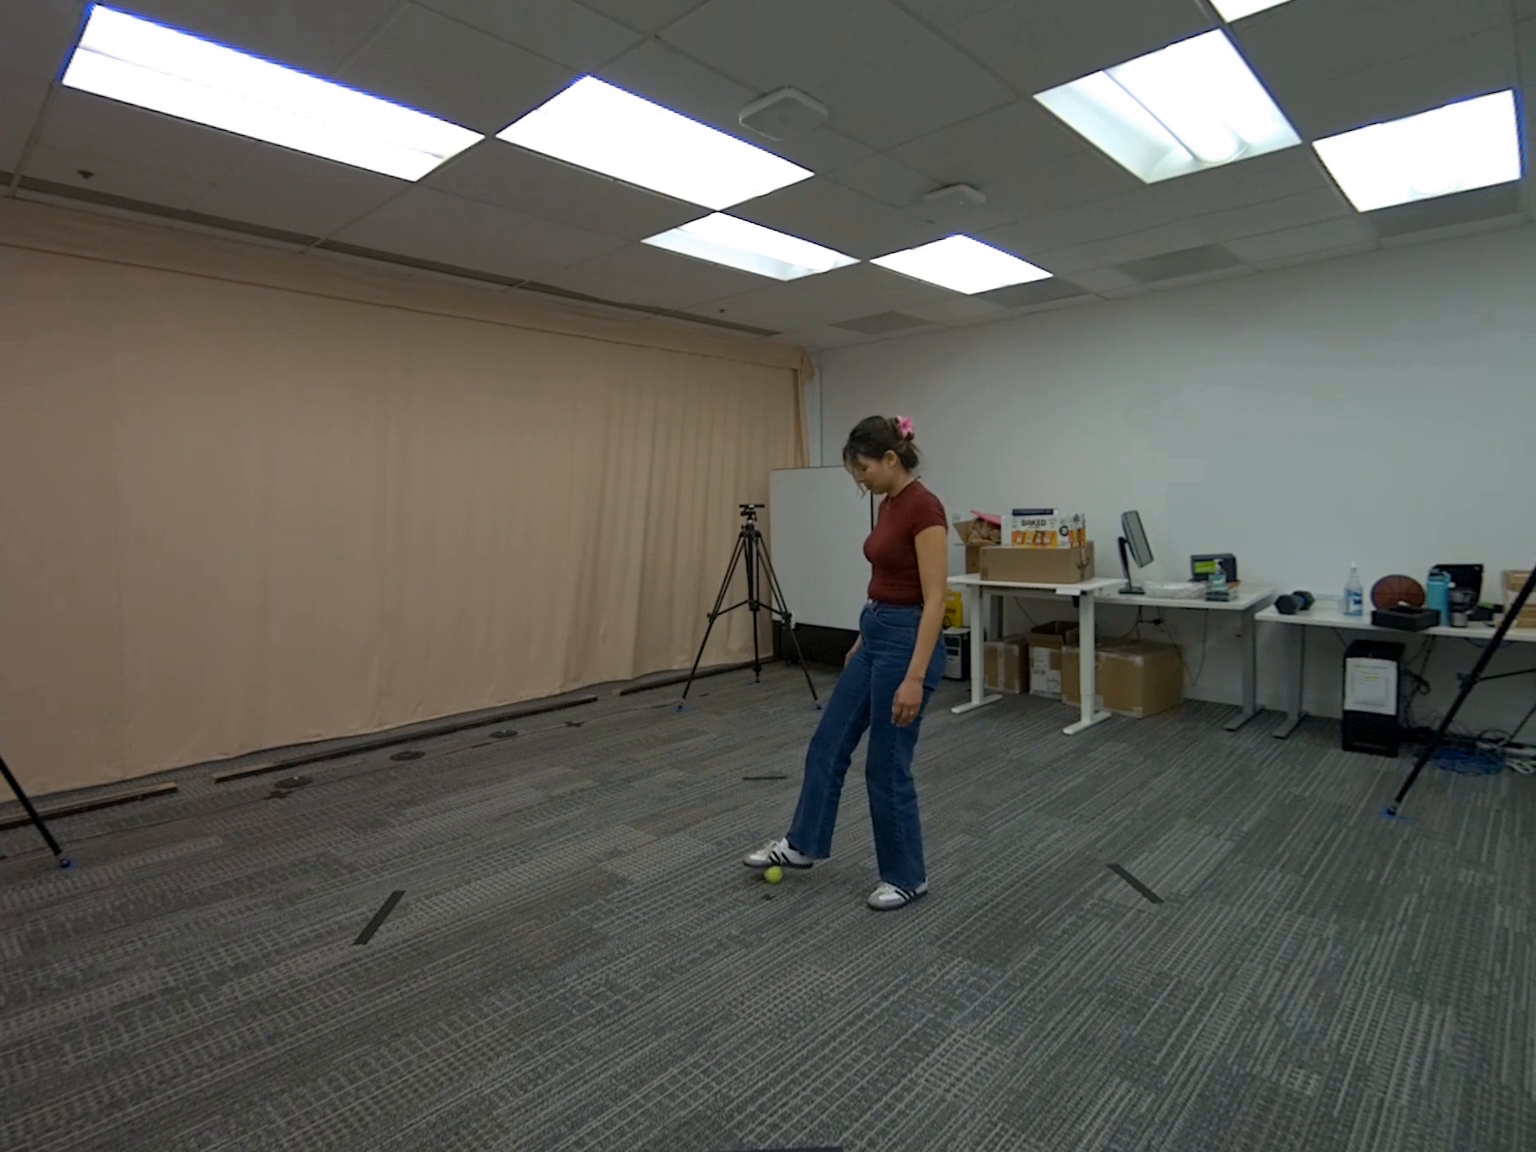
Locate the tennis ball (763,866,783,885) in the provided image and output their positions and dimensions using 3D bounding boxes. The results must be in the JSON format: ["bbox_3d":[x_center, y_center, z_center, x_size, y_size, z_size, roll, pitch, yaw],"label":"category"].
[{"bbox_3d":[0.016,1.088,3.100,0.066,0.066,0.067,-1,4,-2],"label":"tennis ball"}]
